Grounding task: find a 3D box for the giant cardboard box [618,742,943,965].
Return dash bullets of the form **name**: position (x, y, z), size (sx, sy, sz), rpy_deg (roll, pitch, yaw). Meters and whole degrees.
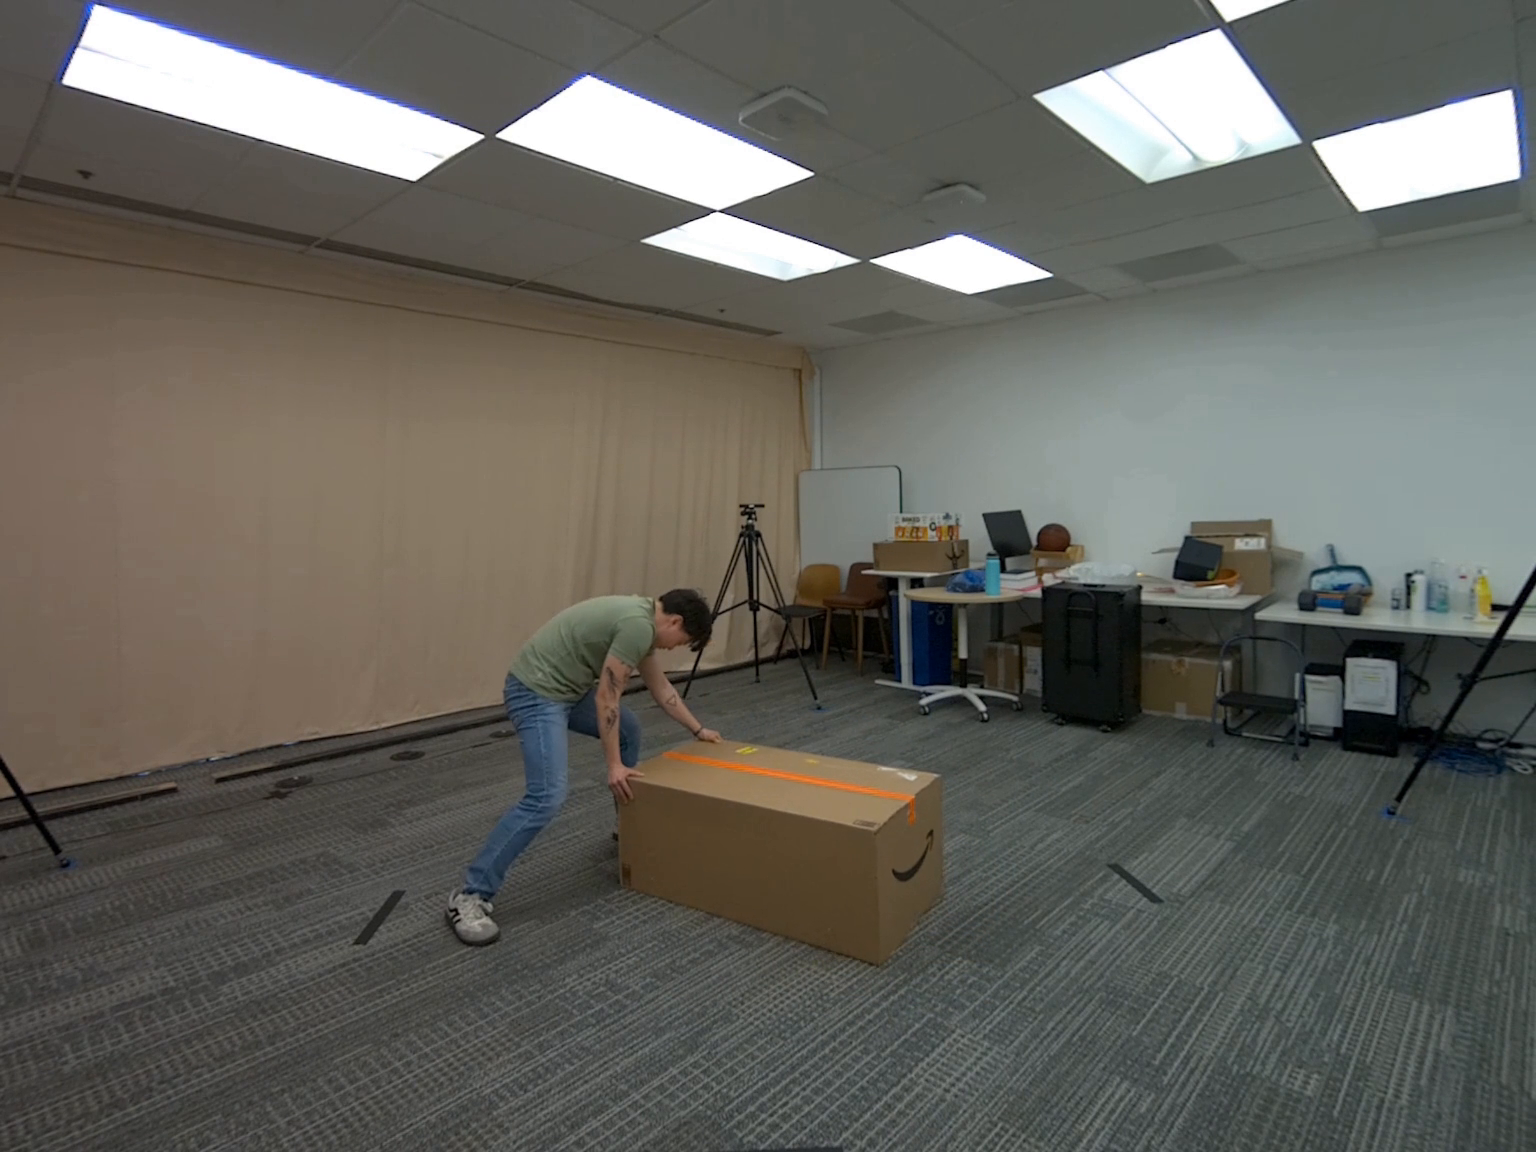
- **giant cardboard box**: position (0.037, 0.922, 3.028), size (1.056, 0.425, 0.562), rpy_deg (1, 5, 32)
